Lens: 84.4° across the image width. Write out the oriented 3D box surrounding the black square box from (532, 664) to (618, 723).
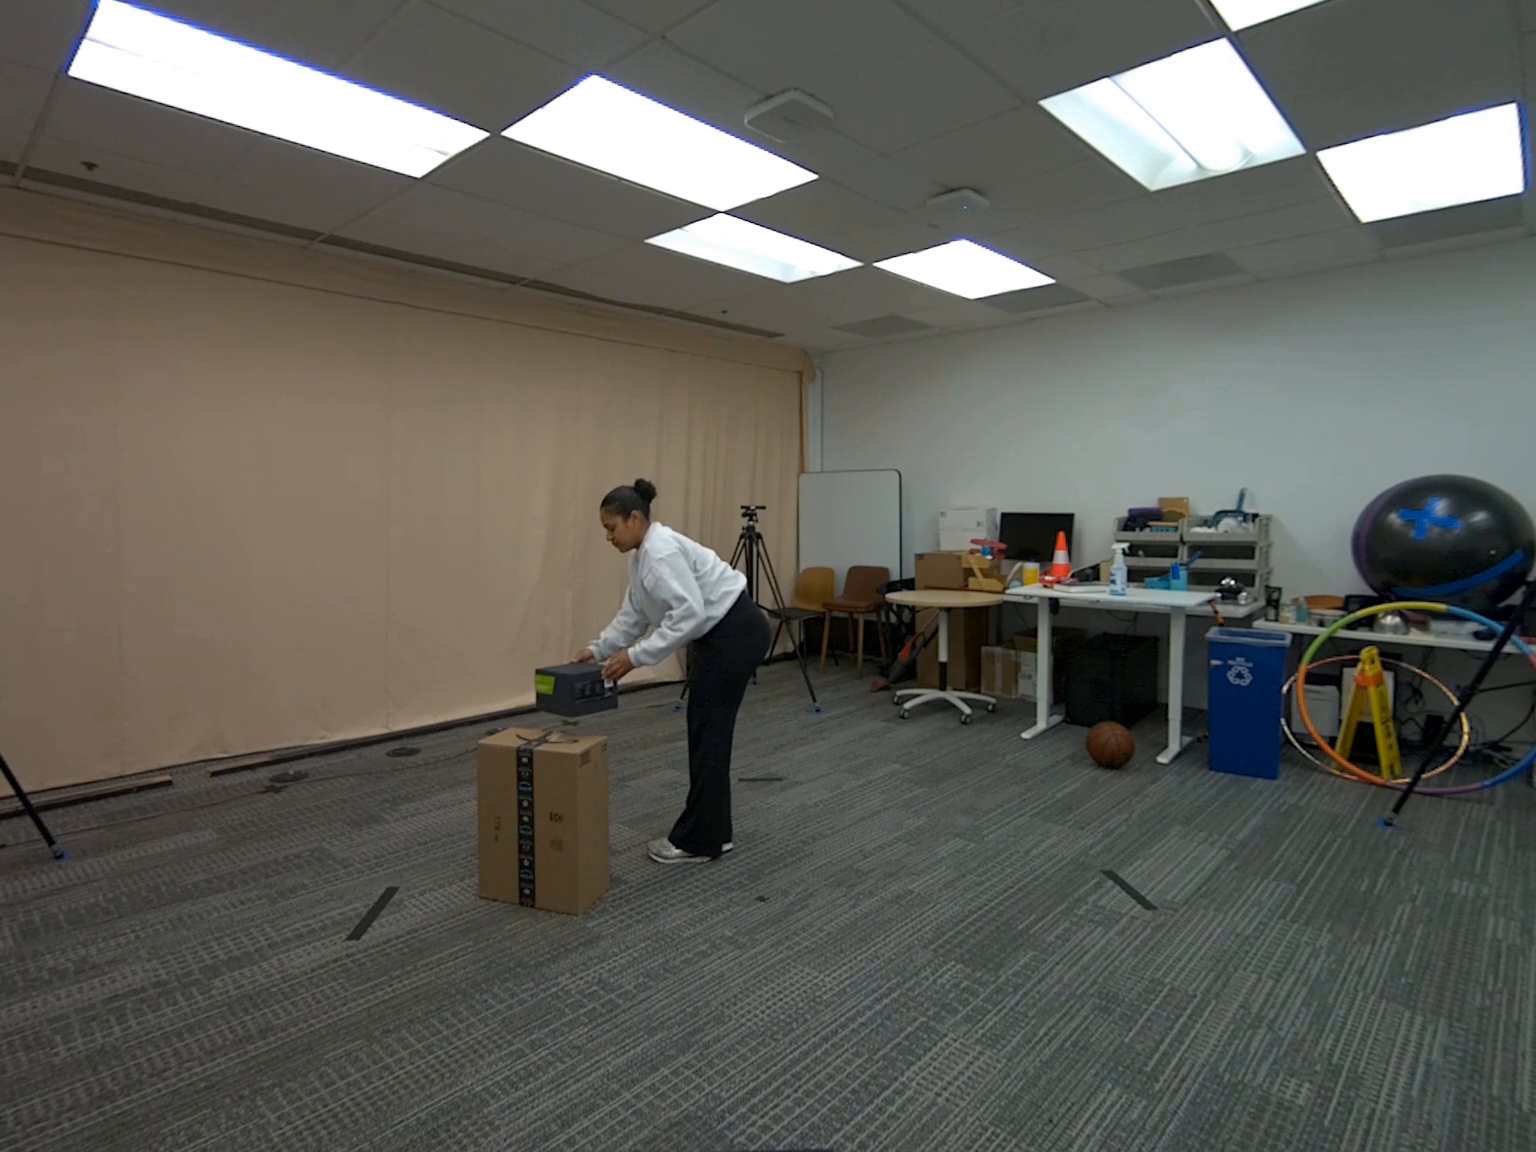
[{"bbox_3d":[-0.717,0.428,3.139,0.235,0.156,0.210,1,3,42],"label":"black square box"}]
